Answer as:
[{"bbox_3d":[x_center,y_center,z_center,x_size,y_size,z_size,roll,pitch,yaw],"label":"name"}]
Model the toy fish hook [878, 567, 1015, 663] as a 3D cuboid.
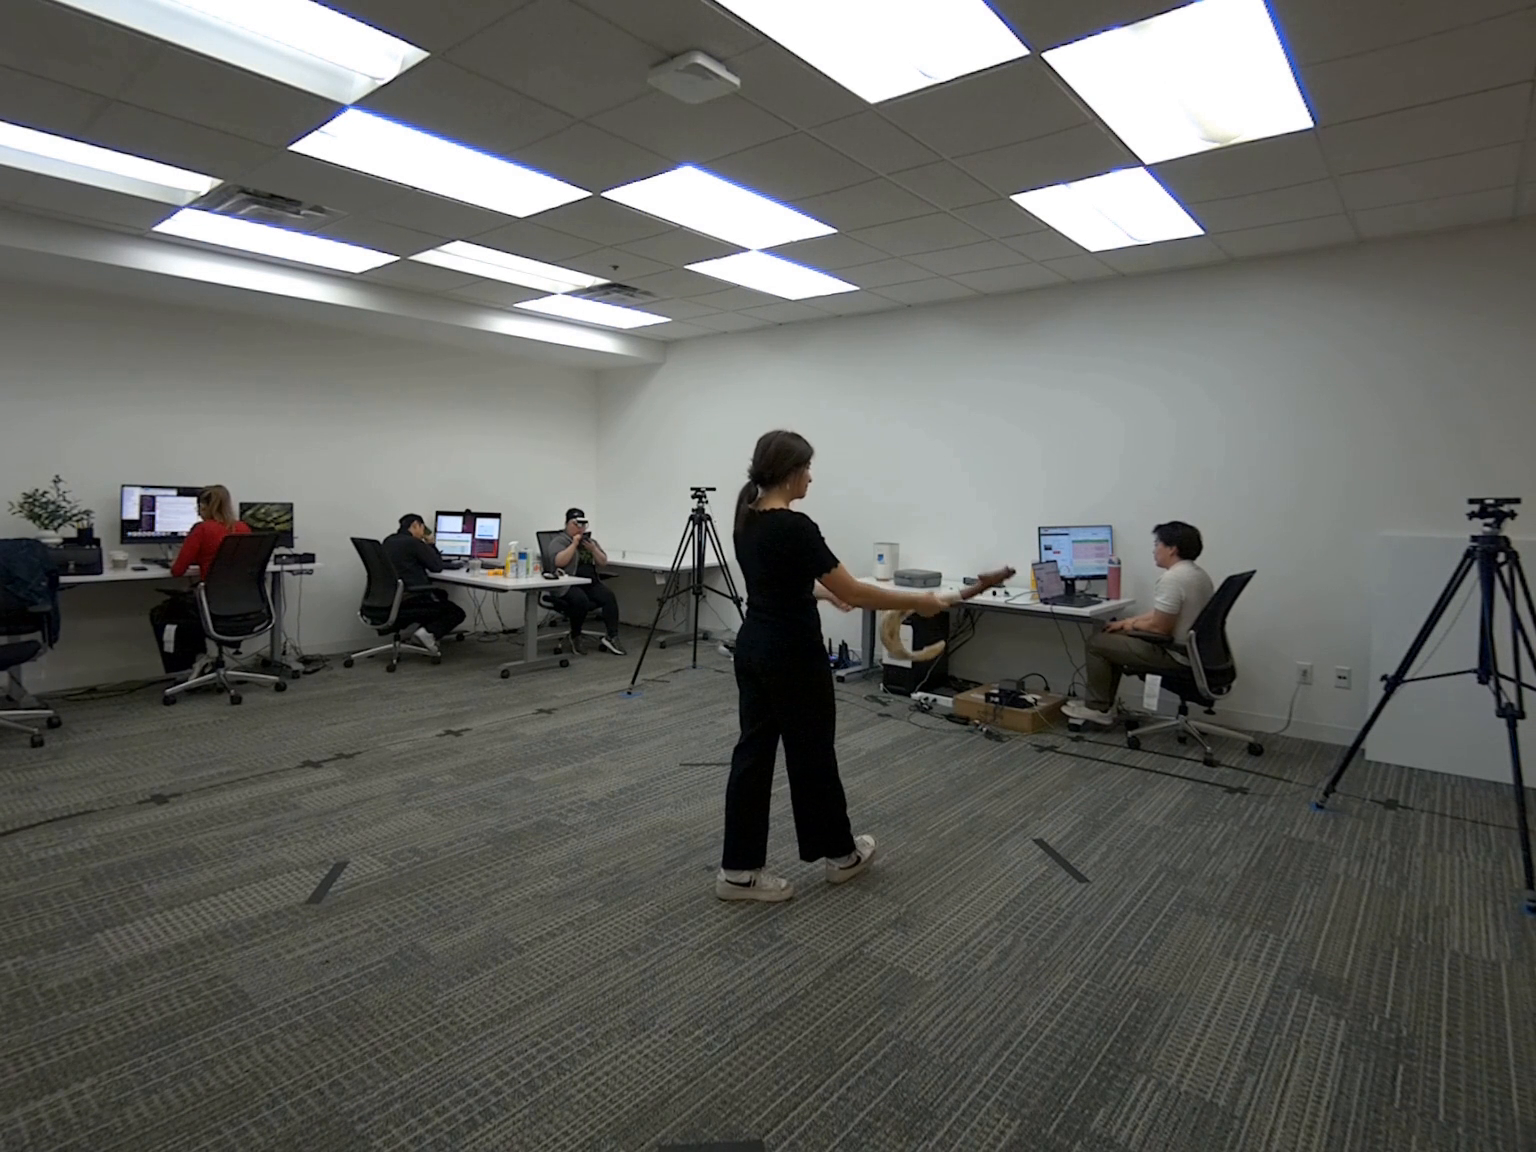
[{"bbox_3d":[0.599,0.128,2.865,0.507,0.220,0.049,-25,14,3],"label":"toy fish hook"}]
